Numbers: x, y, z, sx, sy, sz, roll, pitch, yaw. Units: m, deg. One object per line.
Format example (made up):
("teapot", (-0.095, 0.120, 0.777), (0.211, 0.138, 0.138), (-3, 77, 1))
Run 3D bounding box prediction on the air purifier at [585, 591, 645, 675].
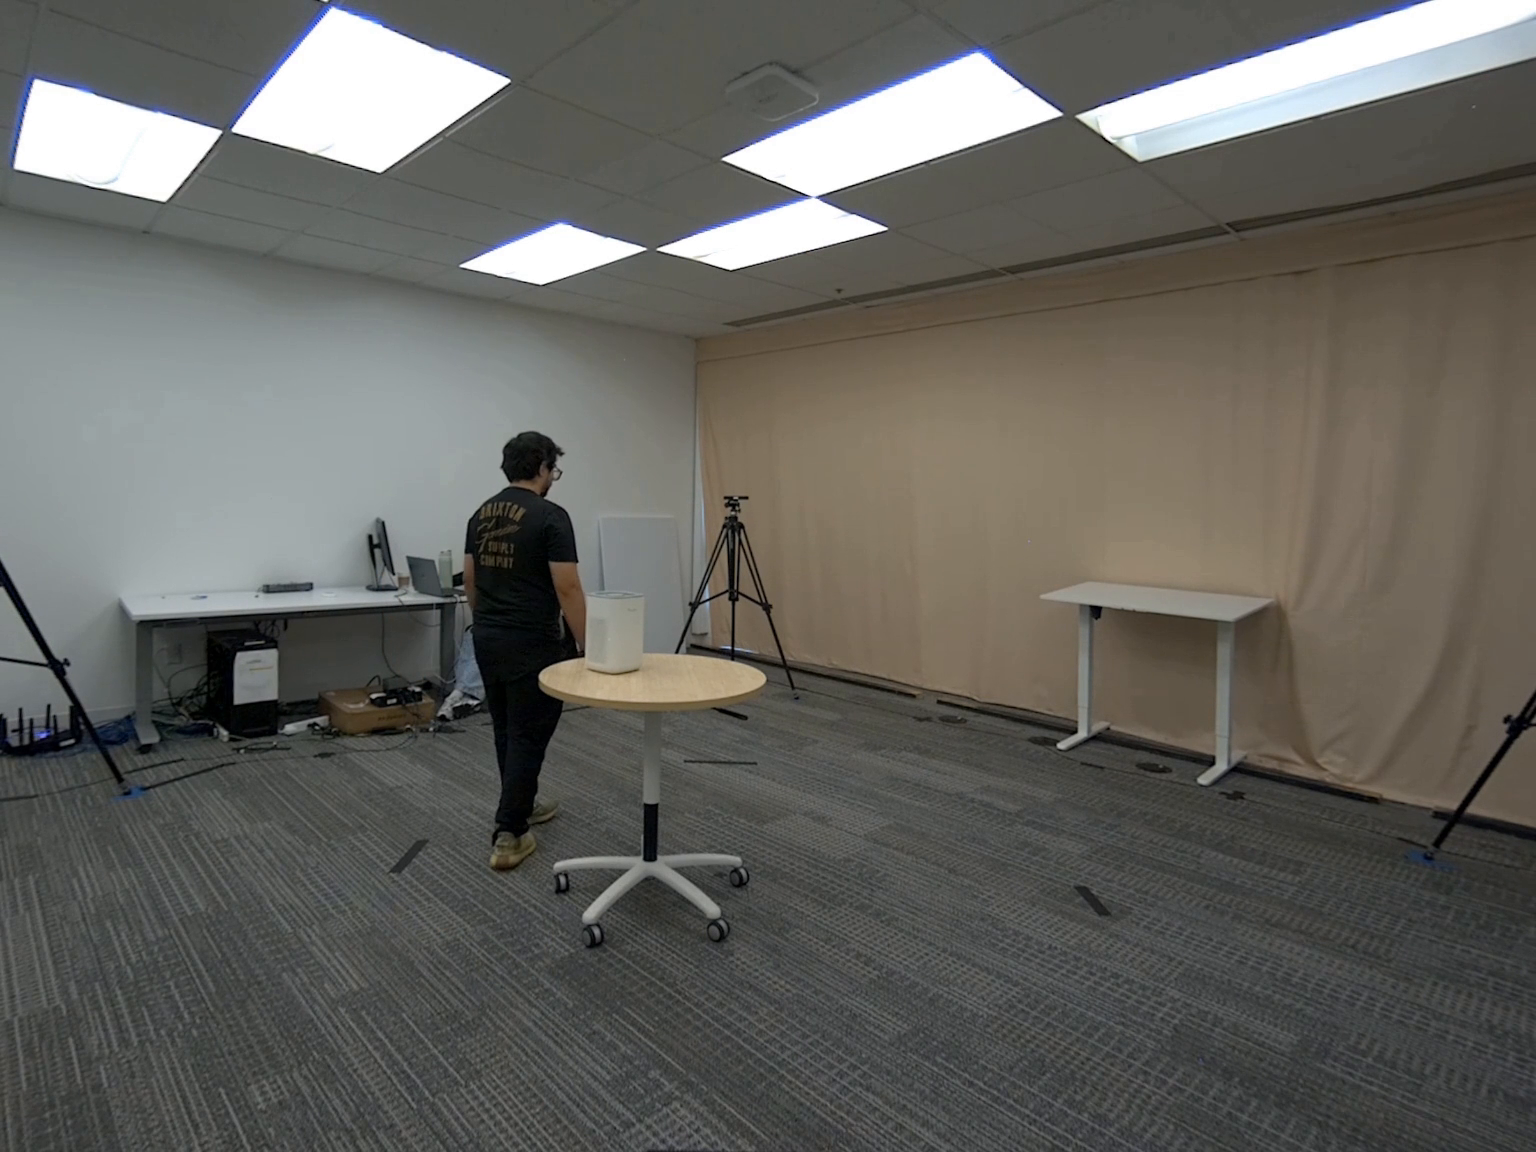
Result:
("air purifier", (-0.539, 0.196, 2.916), (0.176, 0.265, 0.167), (5, 4, 35))
